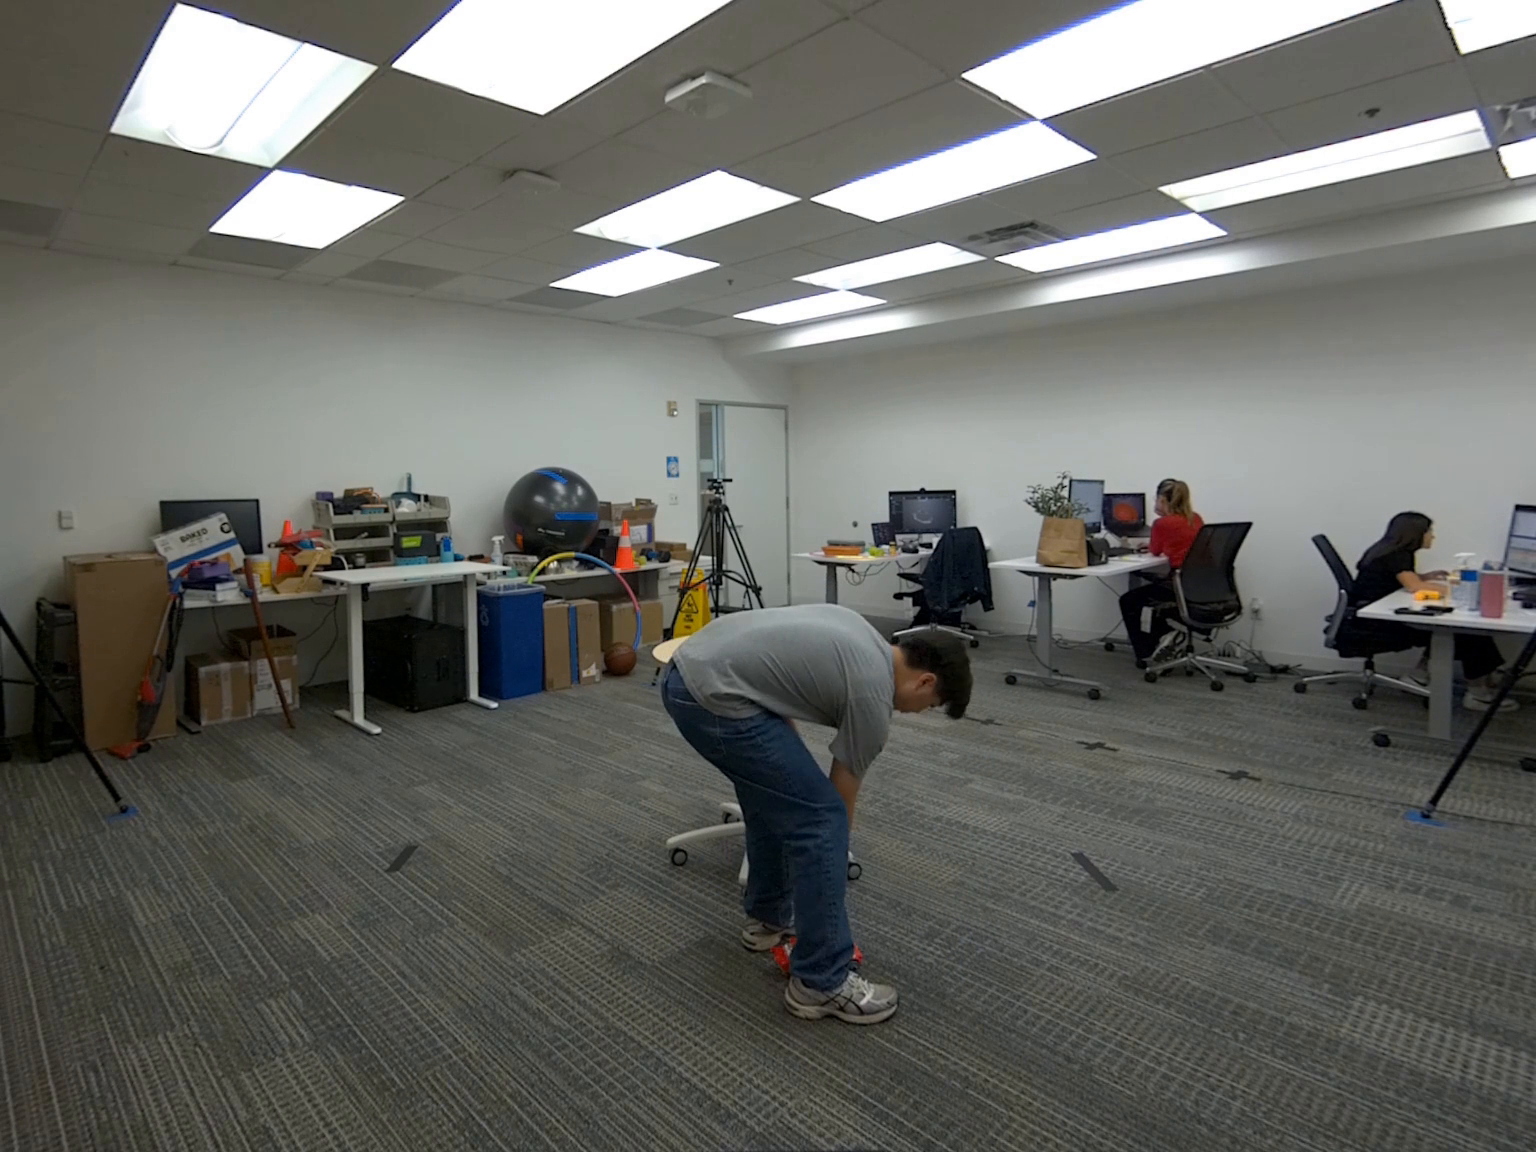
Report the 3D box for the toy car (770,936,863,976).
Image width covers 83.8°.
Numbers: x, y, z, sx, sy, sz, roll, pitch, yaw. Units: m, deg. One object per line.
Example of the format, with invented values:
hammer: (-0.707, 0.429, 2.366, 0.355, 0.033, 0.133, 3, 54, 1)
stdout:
toy car: (0.136, 1.086, 2.440, 0.251, 0.083, 0.132, 9, 6, -12)
